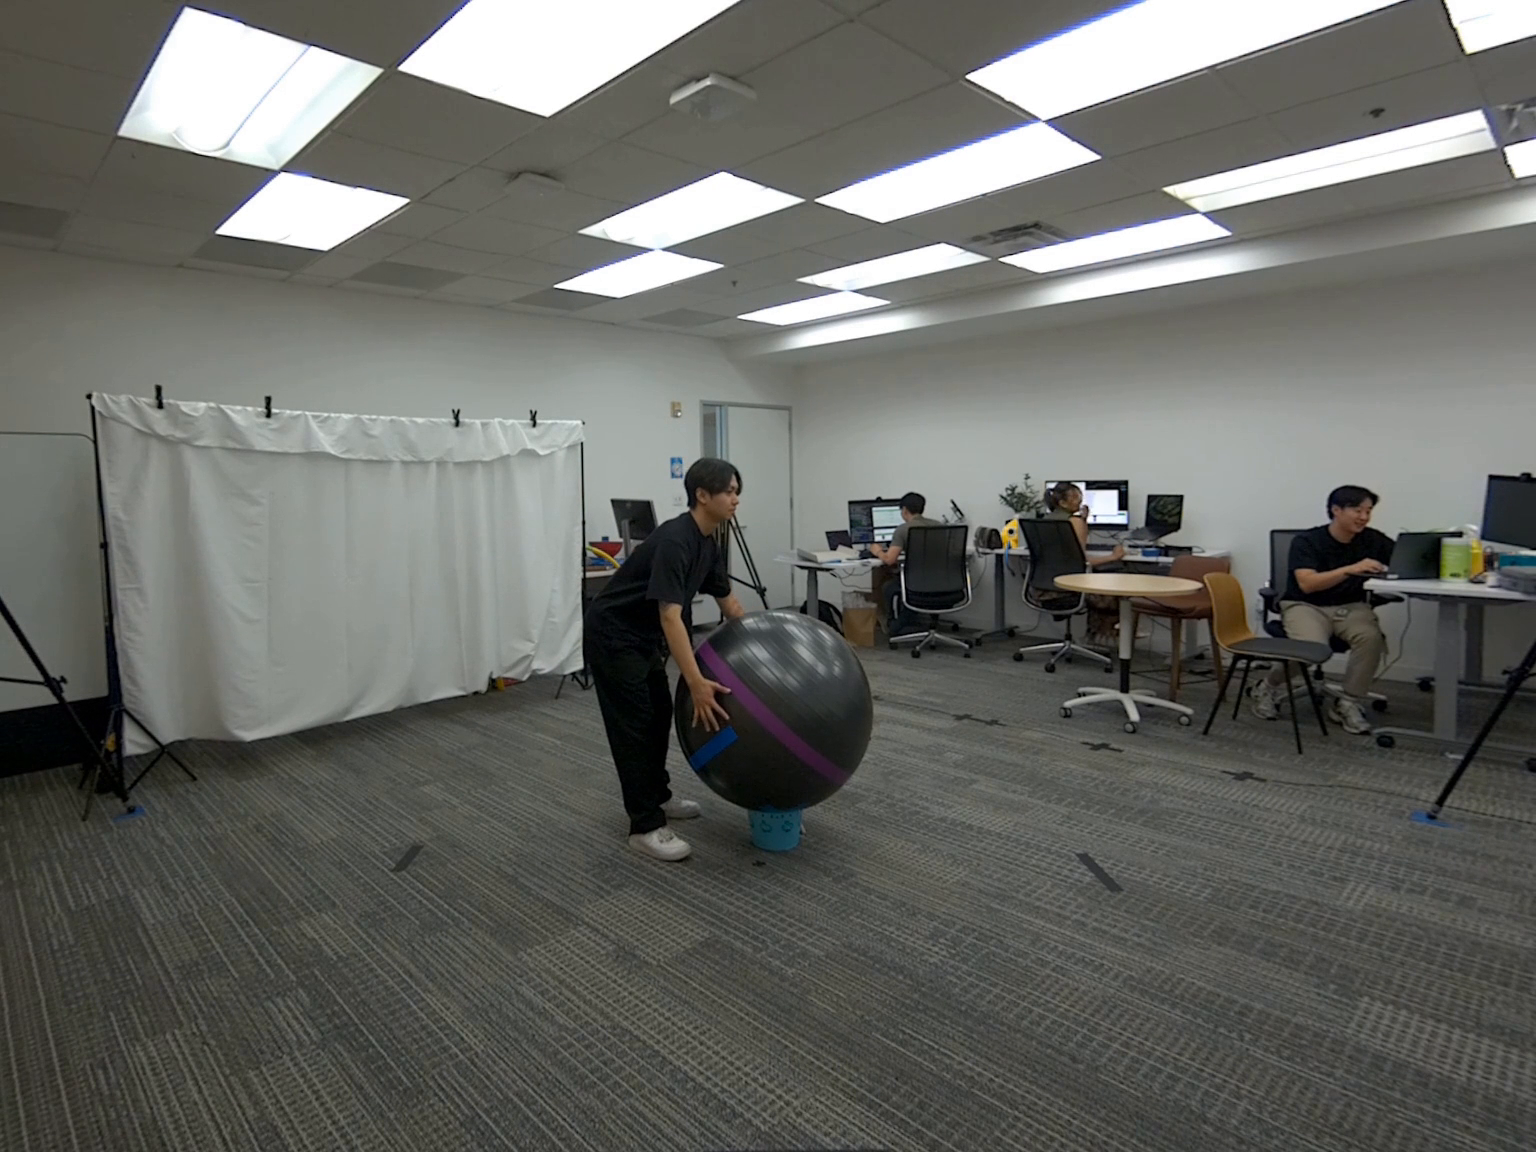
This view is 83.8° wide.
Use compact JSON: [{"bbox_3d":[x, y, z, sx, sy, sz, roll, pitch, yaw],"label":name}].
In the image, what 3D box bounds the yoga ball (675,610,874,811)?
[{"bbox_3d":[0.023,0.514,3.290,0.757,0.755,0.762,-1,5,-2],"label":"yoga ball"}]
